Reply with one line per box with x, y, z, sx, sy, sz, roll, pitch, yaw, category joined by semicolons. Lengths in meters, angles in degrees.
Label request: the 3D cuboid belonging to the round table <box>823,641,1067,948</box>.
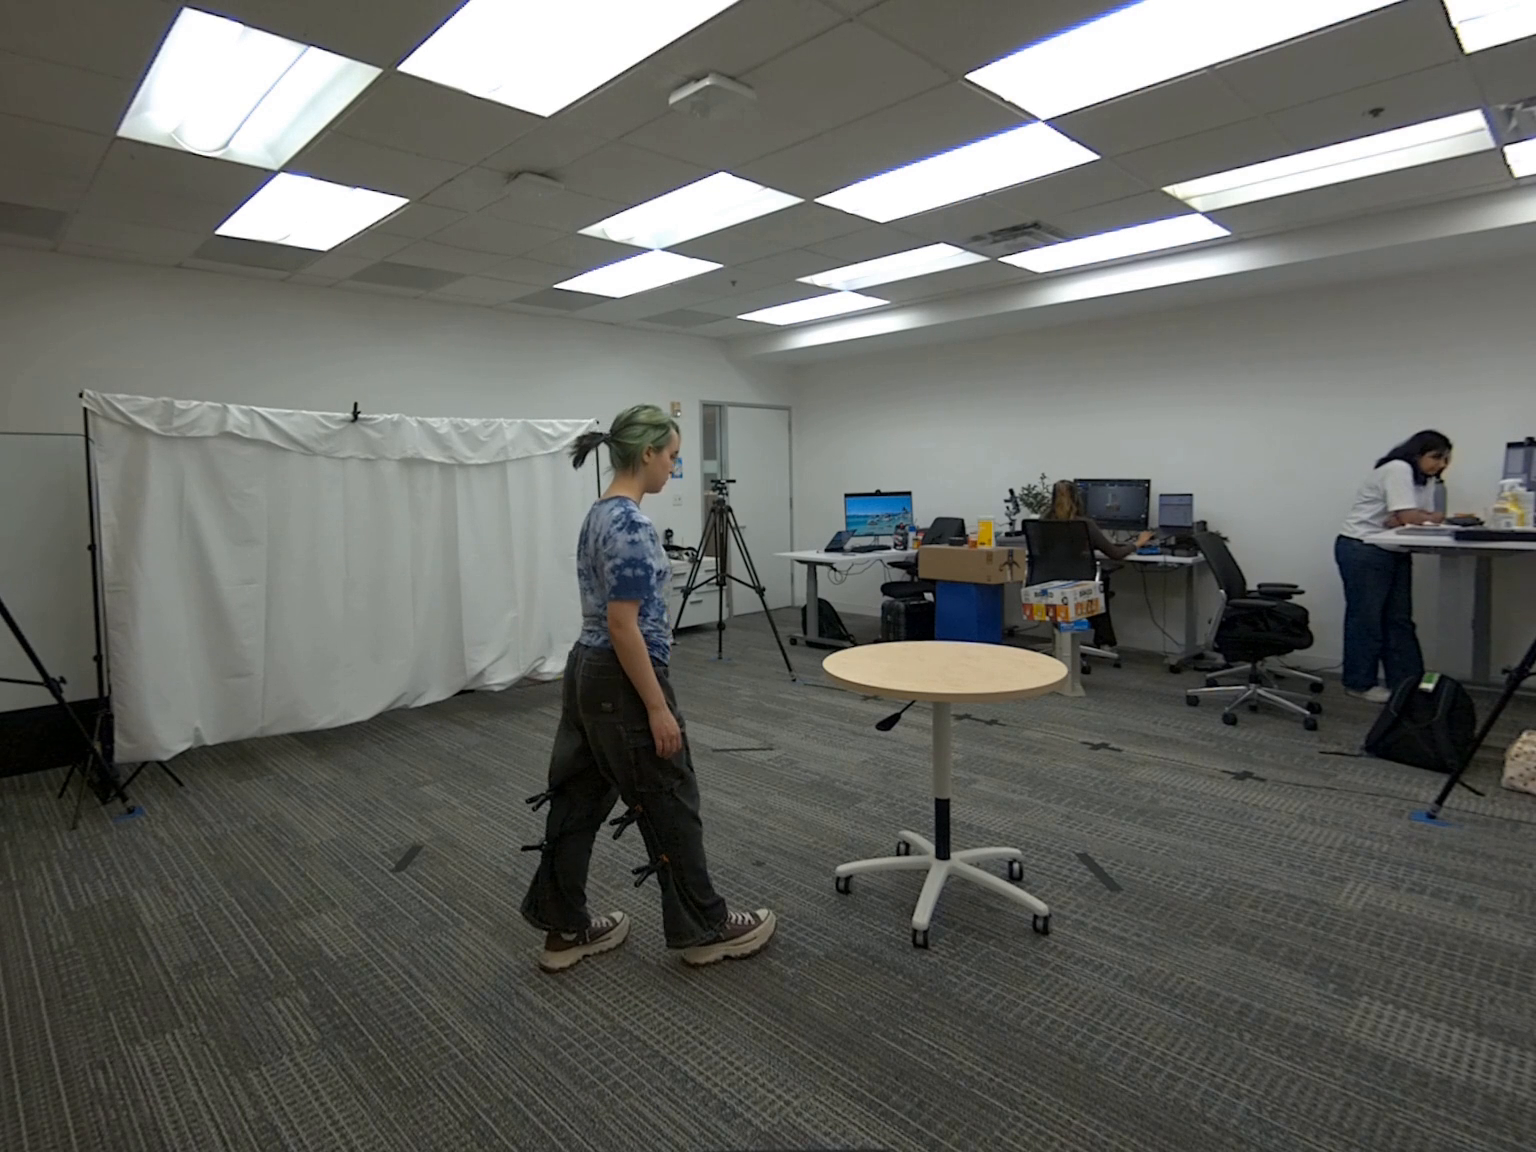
0.571;0.682;2.802;0.763;0.791;0.768;-1;5;-2;round table
